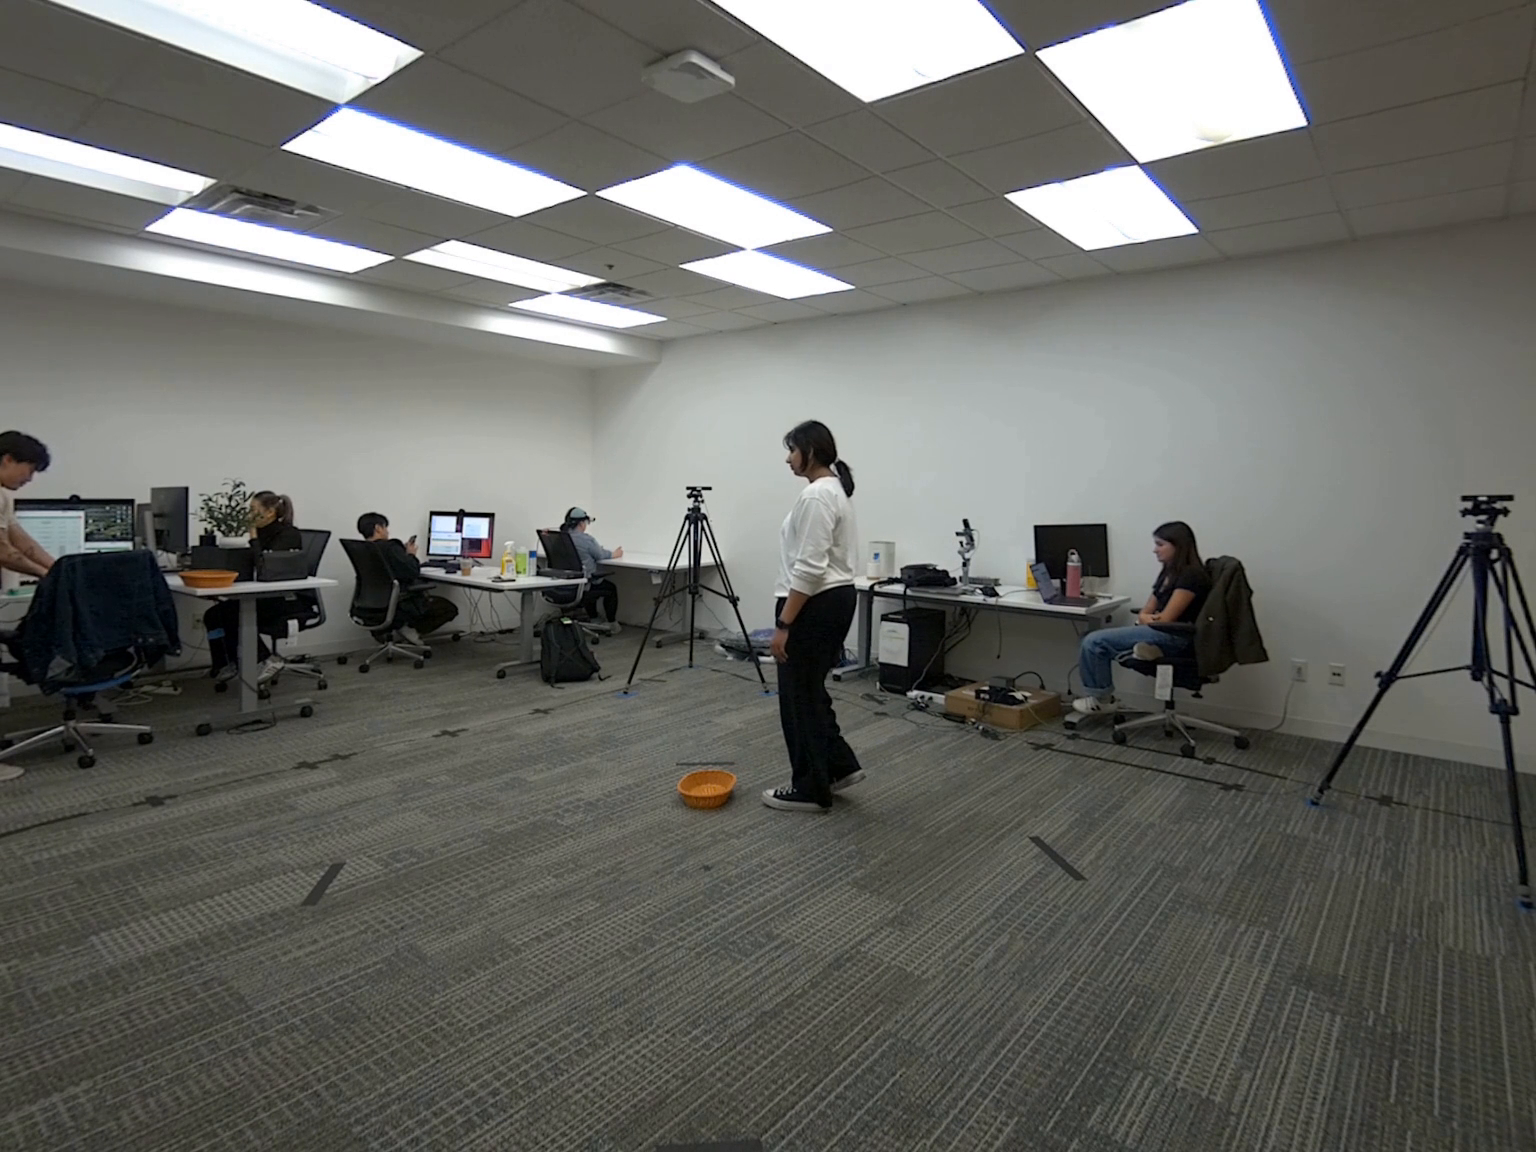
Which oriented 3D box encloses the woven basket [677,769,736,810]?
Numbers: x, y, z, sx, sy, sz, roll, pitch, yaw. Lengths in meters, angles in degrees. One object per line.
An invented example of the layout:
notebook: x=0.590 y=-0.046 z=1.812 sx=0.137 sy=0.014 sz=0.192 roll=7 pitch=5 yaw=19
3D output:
woven basket: x=-0.277 y=0.957 z=3.822 sx=0.256 sy=0.073 sz=0.347 roll=1 pitch=6 yaw=10
